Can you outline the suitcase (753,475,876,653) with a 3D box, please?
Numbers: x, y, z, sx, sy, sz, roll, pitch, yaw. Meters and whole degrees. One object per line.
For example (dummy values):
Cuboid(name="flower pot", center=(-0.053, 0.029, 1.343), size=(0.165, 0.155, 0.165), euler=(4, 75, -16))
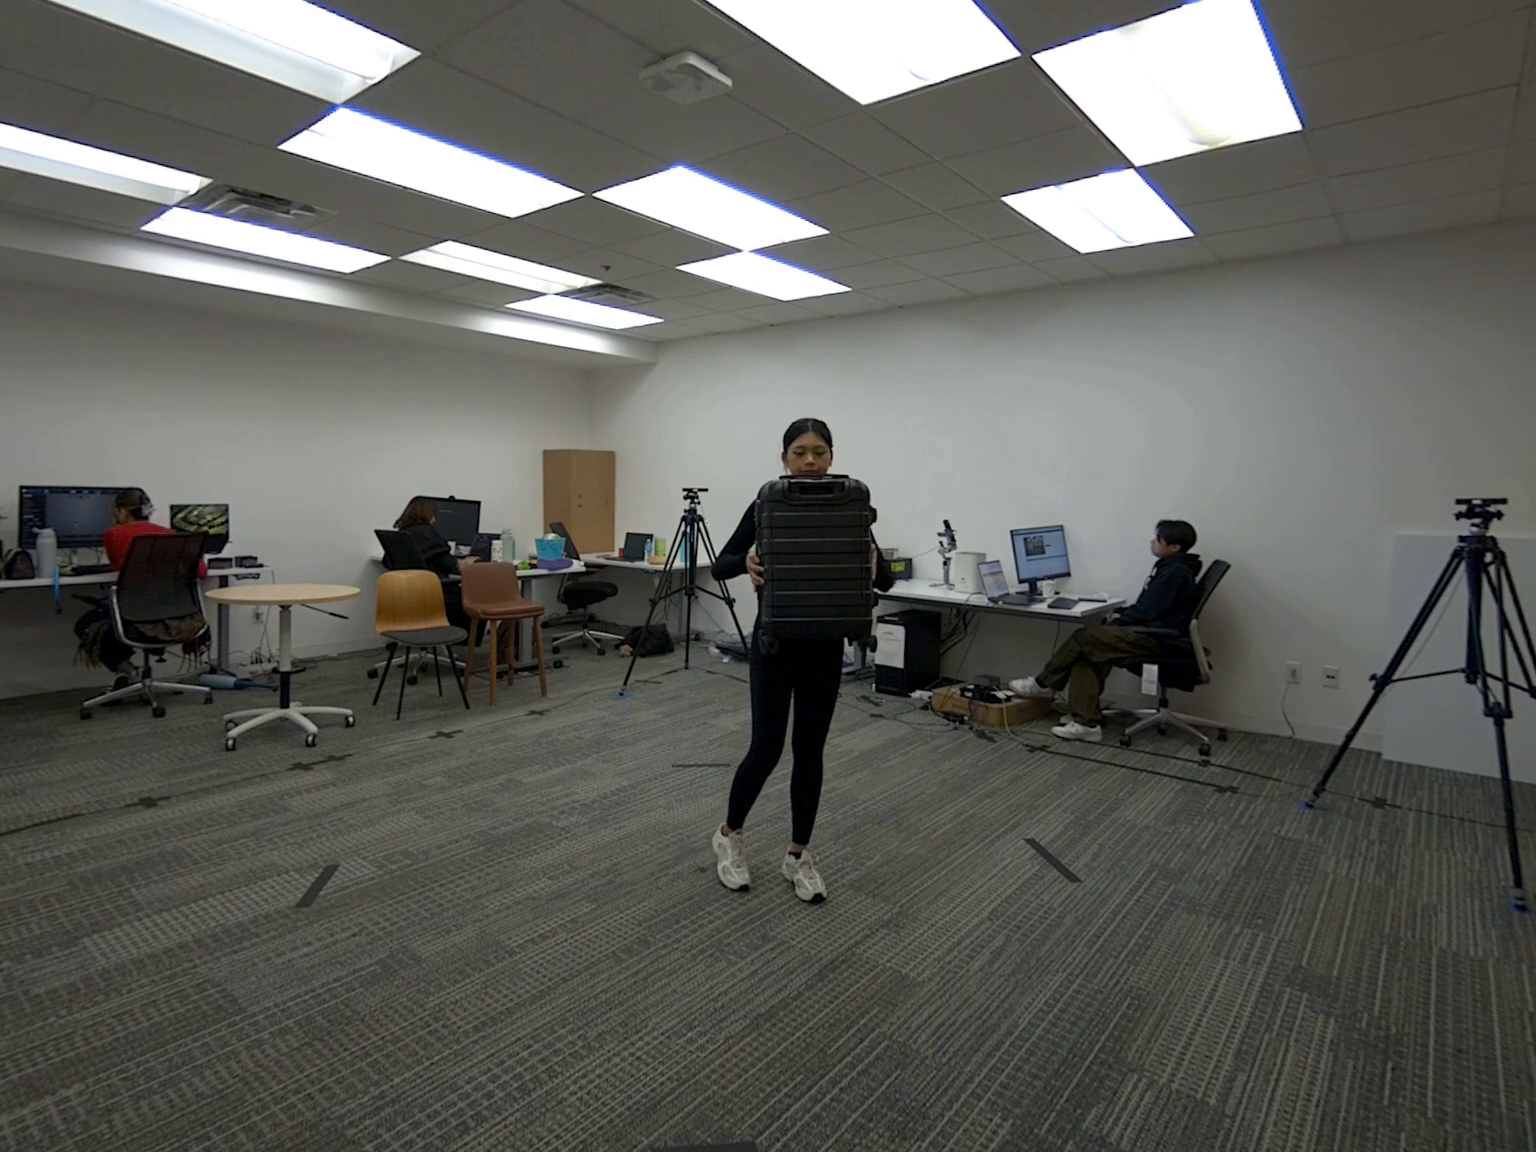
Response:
Cuboid(name="suitcase", center=(0.137, -0.050, 2.708), size=(0.375, 0.550, 0.248), euler=(-2, -1, 0))
